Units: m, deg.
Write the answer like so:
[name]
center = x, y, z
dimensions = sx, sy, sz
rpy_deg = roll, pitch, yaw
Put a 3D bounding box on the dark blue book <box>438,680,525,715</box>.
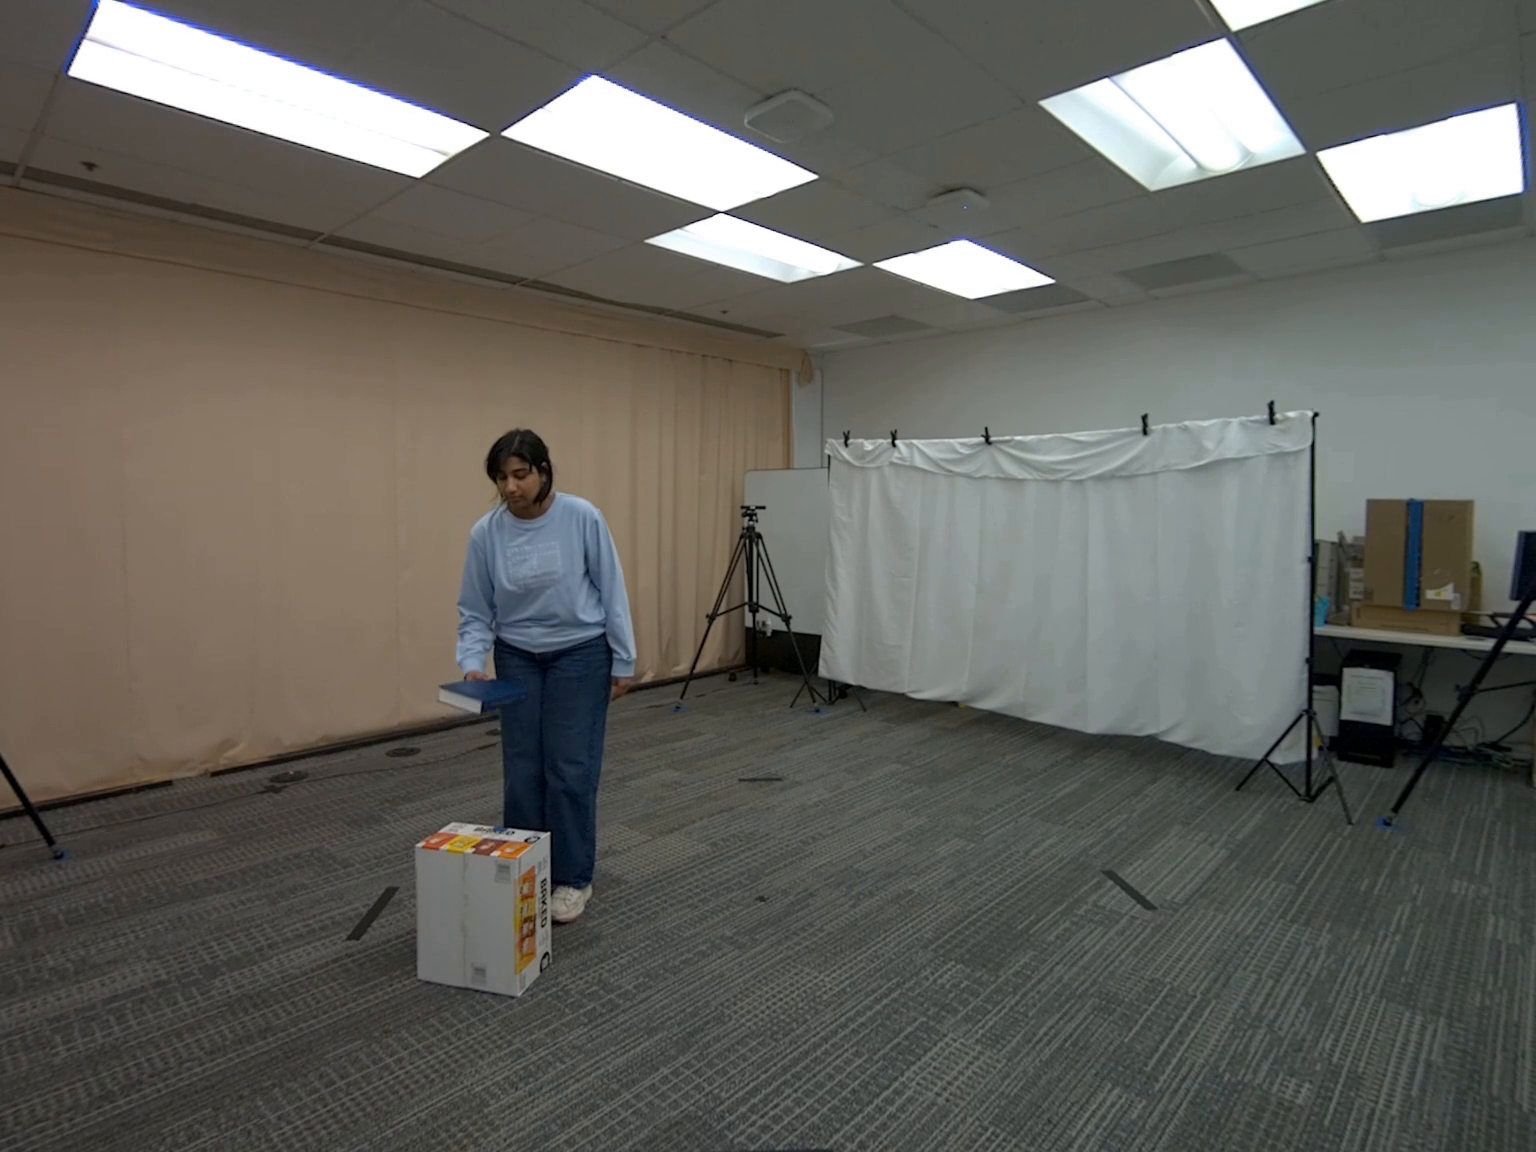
[dark blue book]
center = -0.866, 0.366, 2.586
dimensions = 0.166, 0.045, 0.241
rpy_deg = 10, 4, 14
